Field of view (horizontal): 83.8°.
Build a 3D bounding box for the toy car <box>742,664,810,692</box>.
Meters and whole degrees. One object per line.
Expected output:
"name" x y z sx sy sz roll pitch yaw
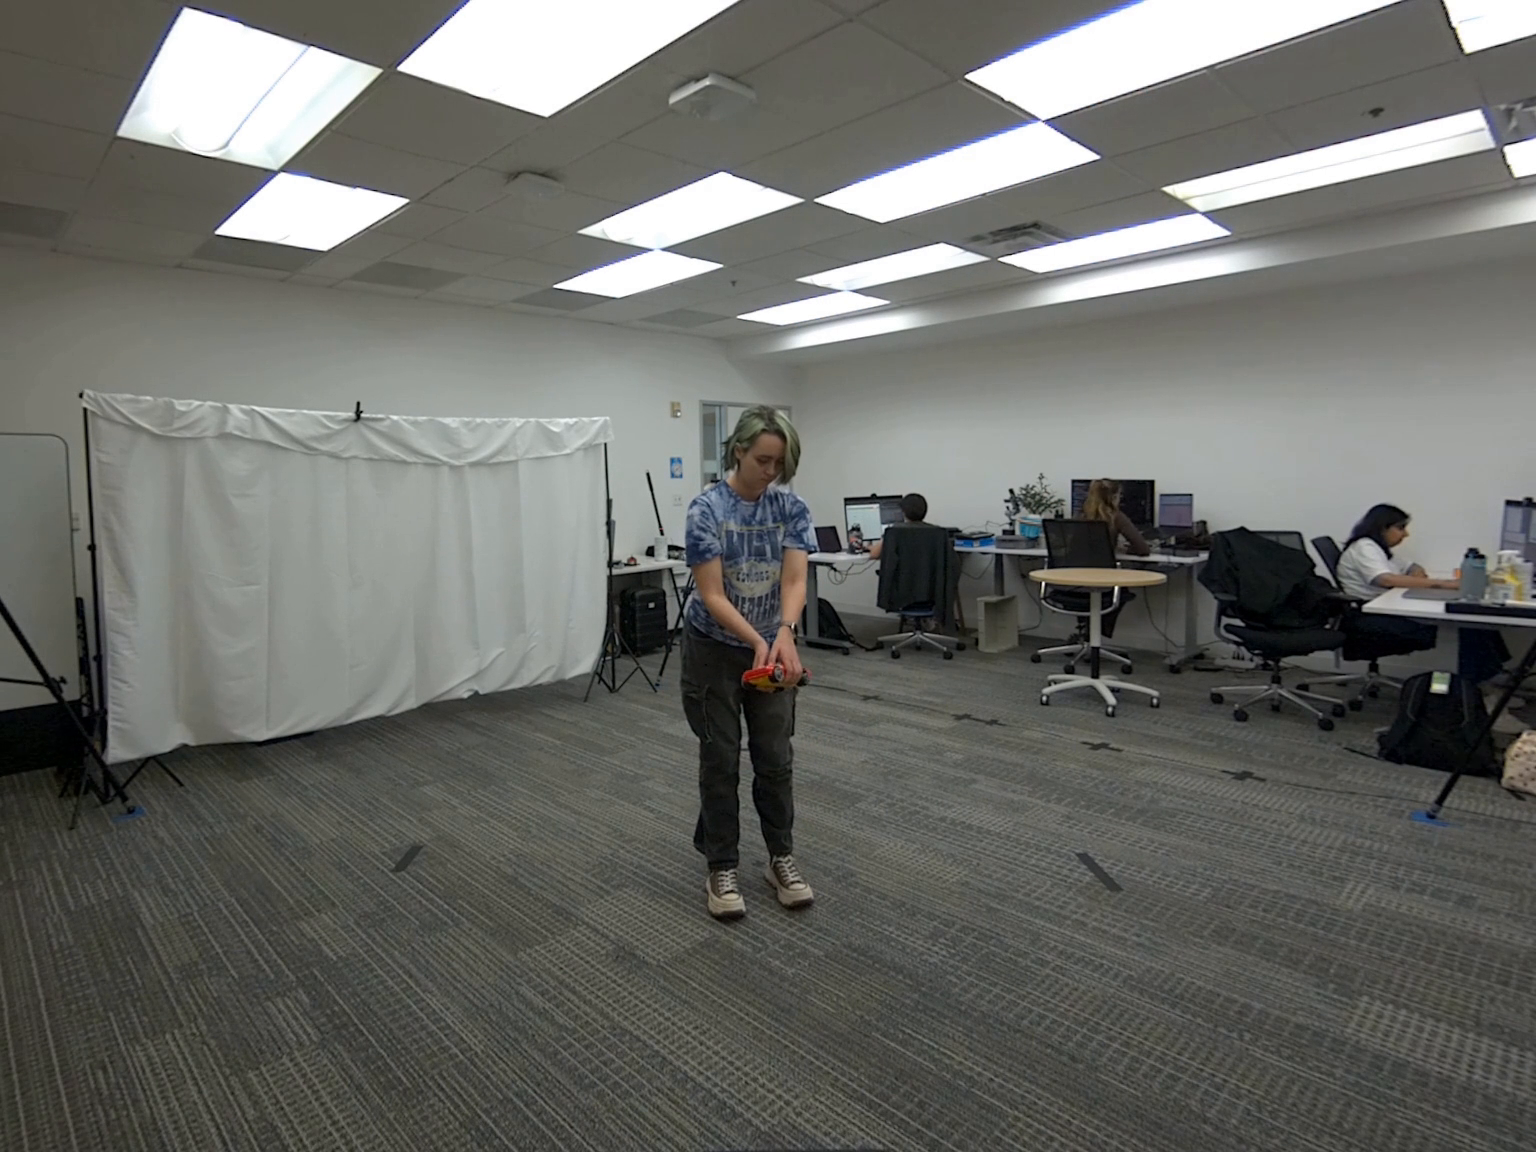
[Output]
"toy car" 0.029 0.296 2.474 0.132 0.084 0.248 -20 -10 28
